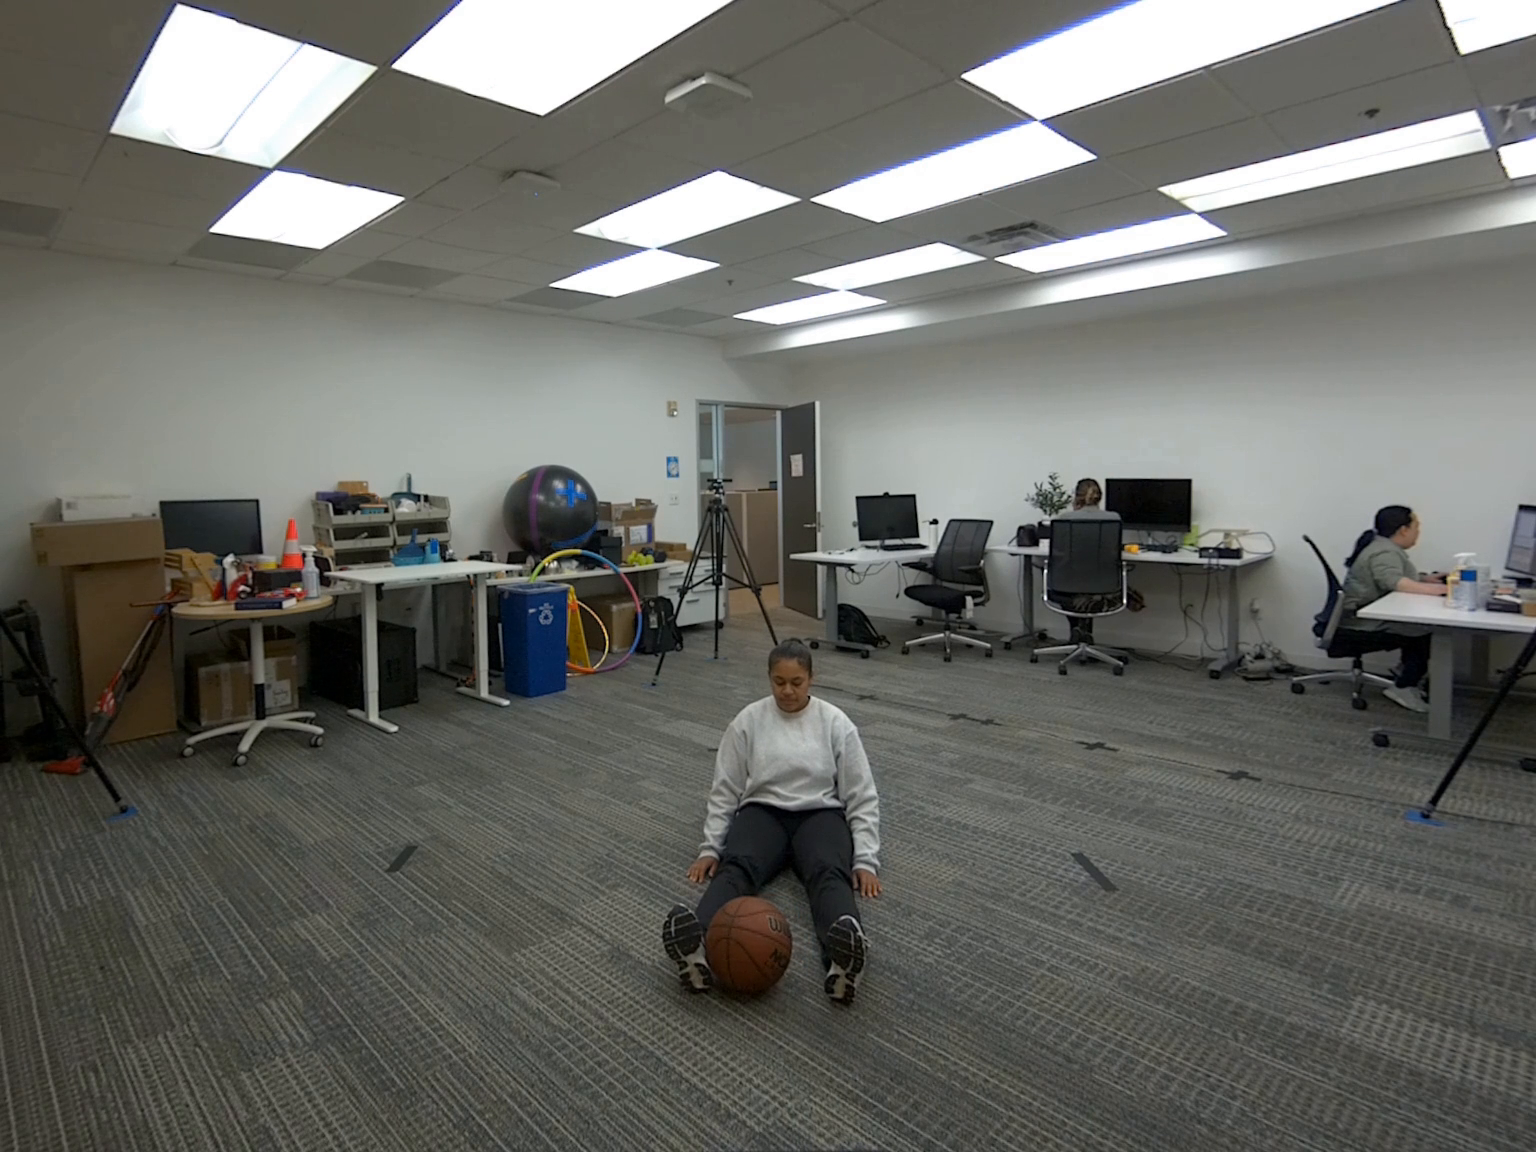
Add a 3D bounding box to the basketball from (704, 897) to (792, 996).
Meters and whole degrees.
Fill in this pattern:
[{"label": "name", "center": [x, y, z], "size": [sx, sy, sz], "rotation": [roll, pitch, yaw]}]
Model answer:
[{"label": "basketball", "center": [-0.044, 1.024, 2.350], "size": [0.236, 0.235, 0.237], "rotation": [-1, 5, -2]}]
